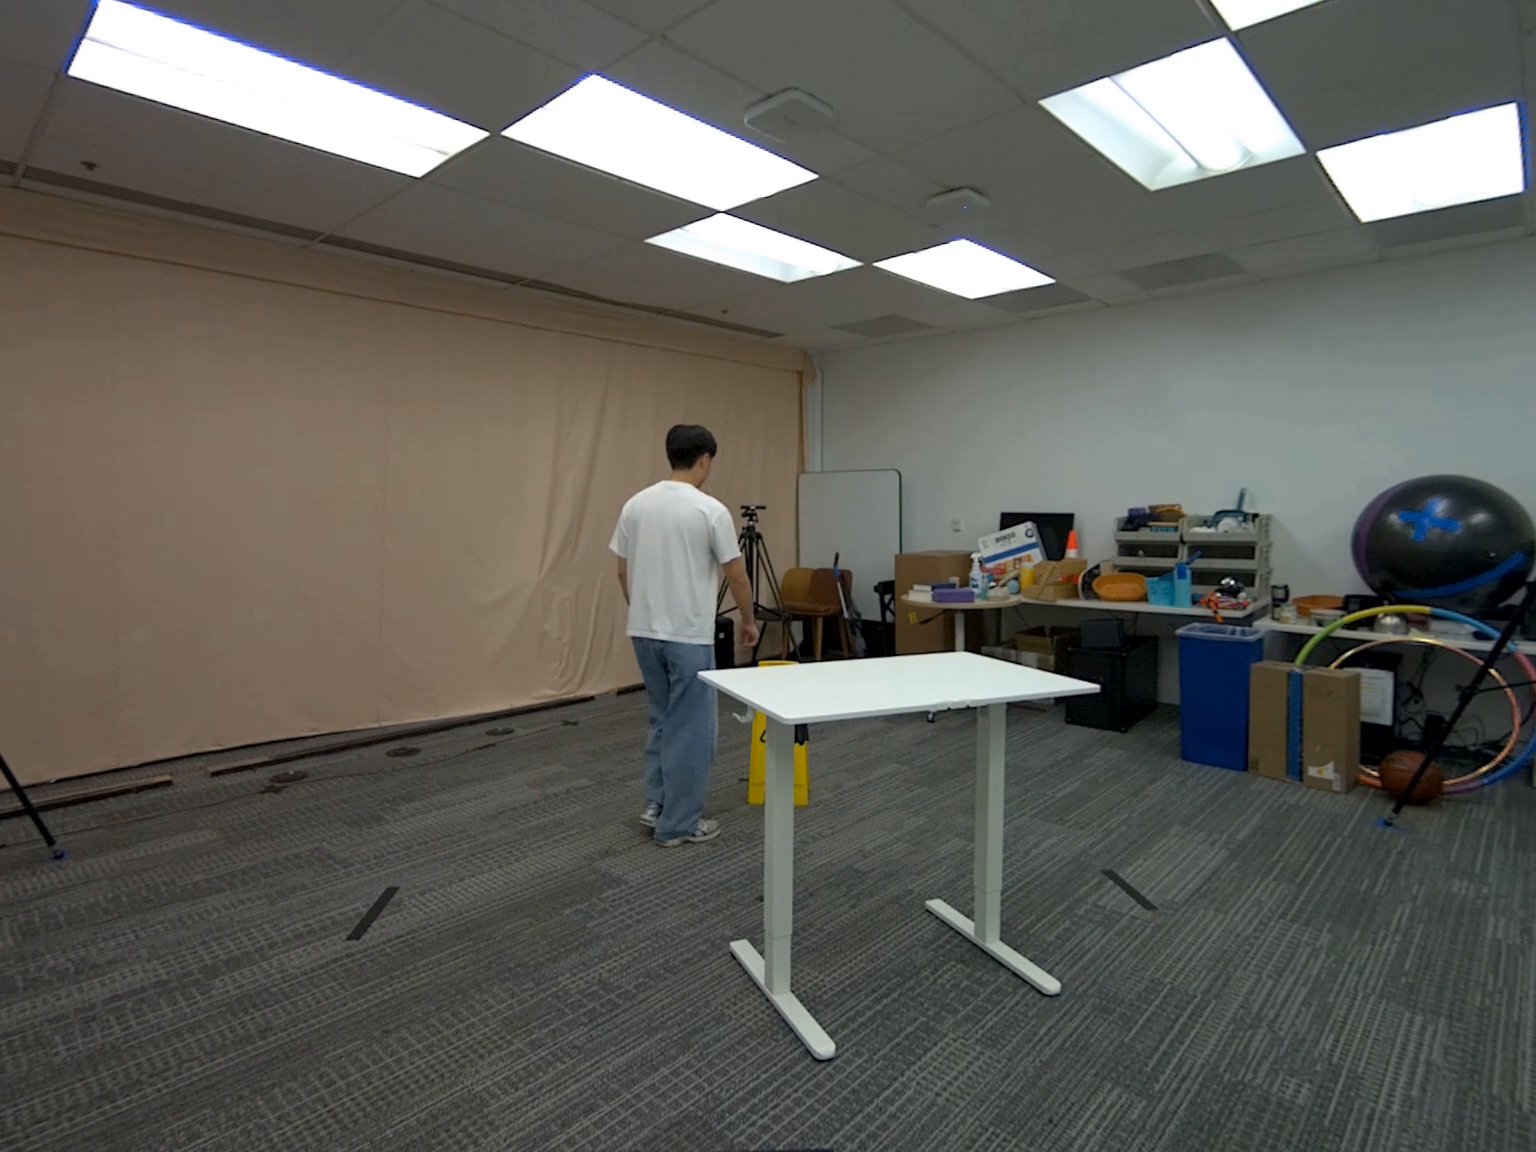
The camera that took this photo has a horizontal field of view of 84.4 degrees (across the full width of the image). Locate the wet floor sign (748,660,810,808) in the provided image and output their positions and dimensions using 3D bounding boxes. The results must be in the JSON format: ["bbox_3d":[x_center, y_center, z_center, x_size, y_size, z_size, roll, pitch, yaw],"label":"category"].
[{"bbox_3d":[0.054,0.729,4.028,0.285,0.645,0.287,1,2,7],"label":"wet floor sign"}]
